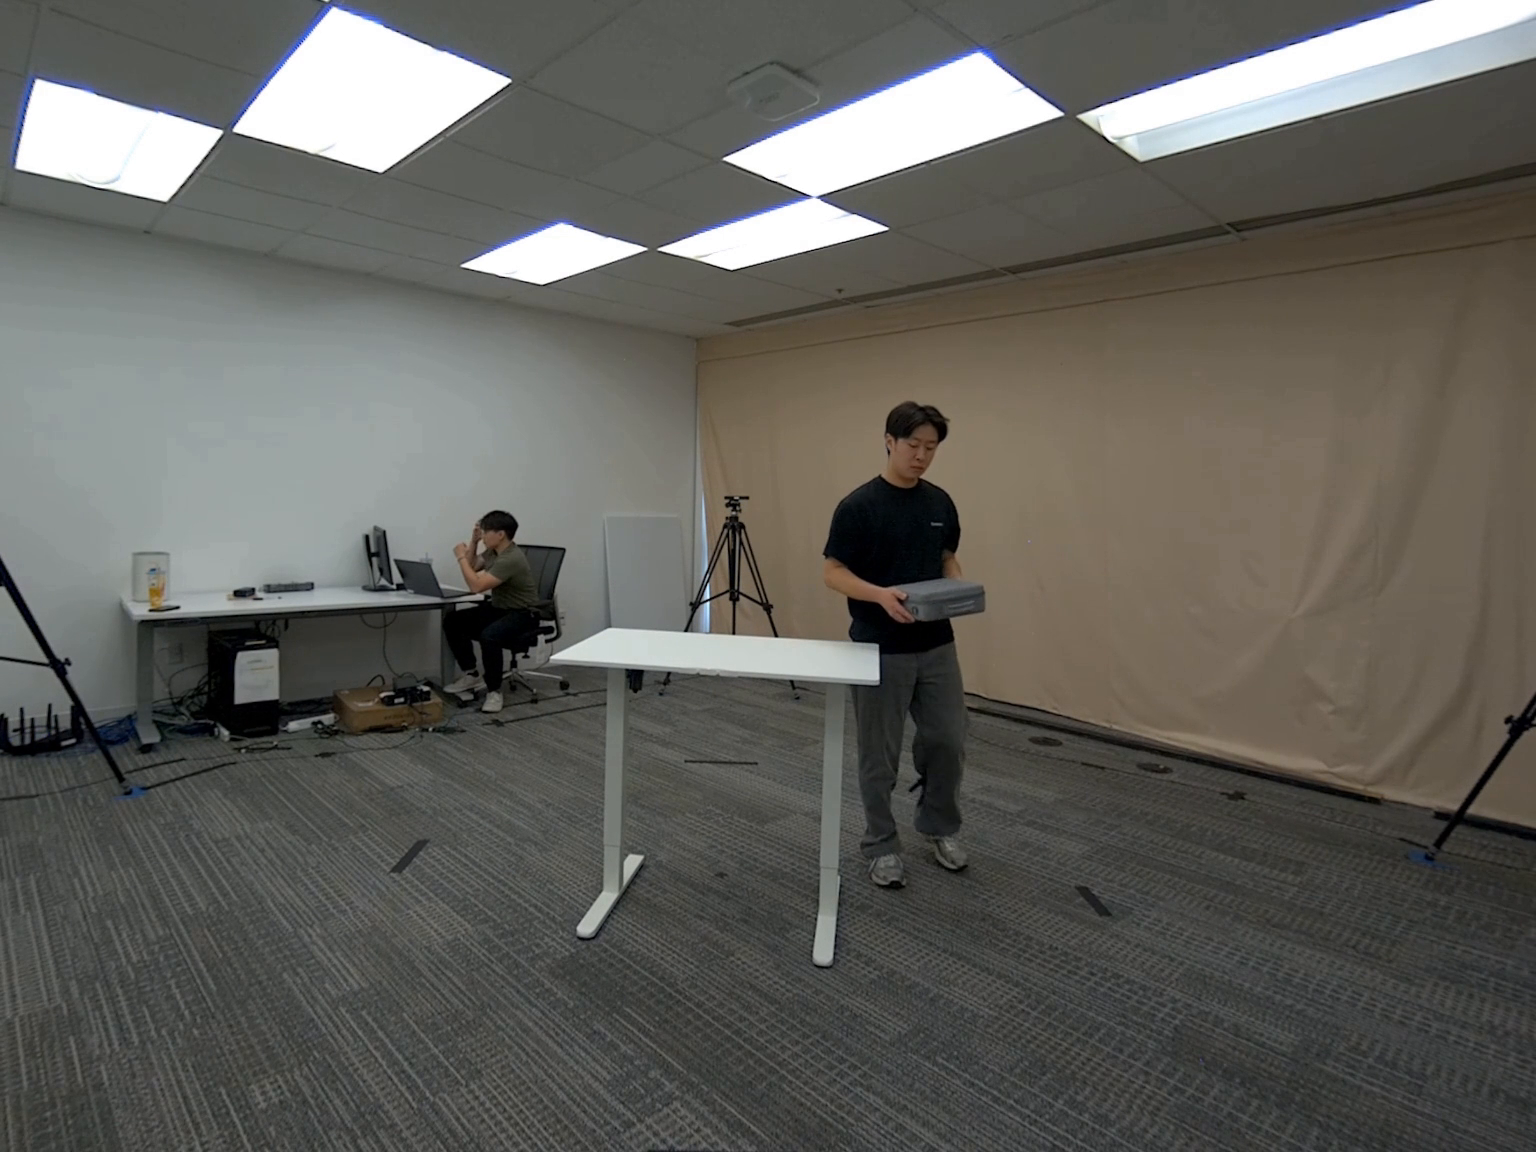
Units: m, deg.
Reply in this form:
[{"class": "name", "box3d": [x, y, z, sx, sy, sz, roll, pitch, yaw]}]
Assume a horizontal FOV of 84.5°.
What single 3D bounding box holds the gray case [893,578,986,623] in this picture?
[{"class": "gray case", "box3d": [0.561, 0.076, 2.895, 0.284, 0.103, 0.267, -7, 5, -17]}]
